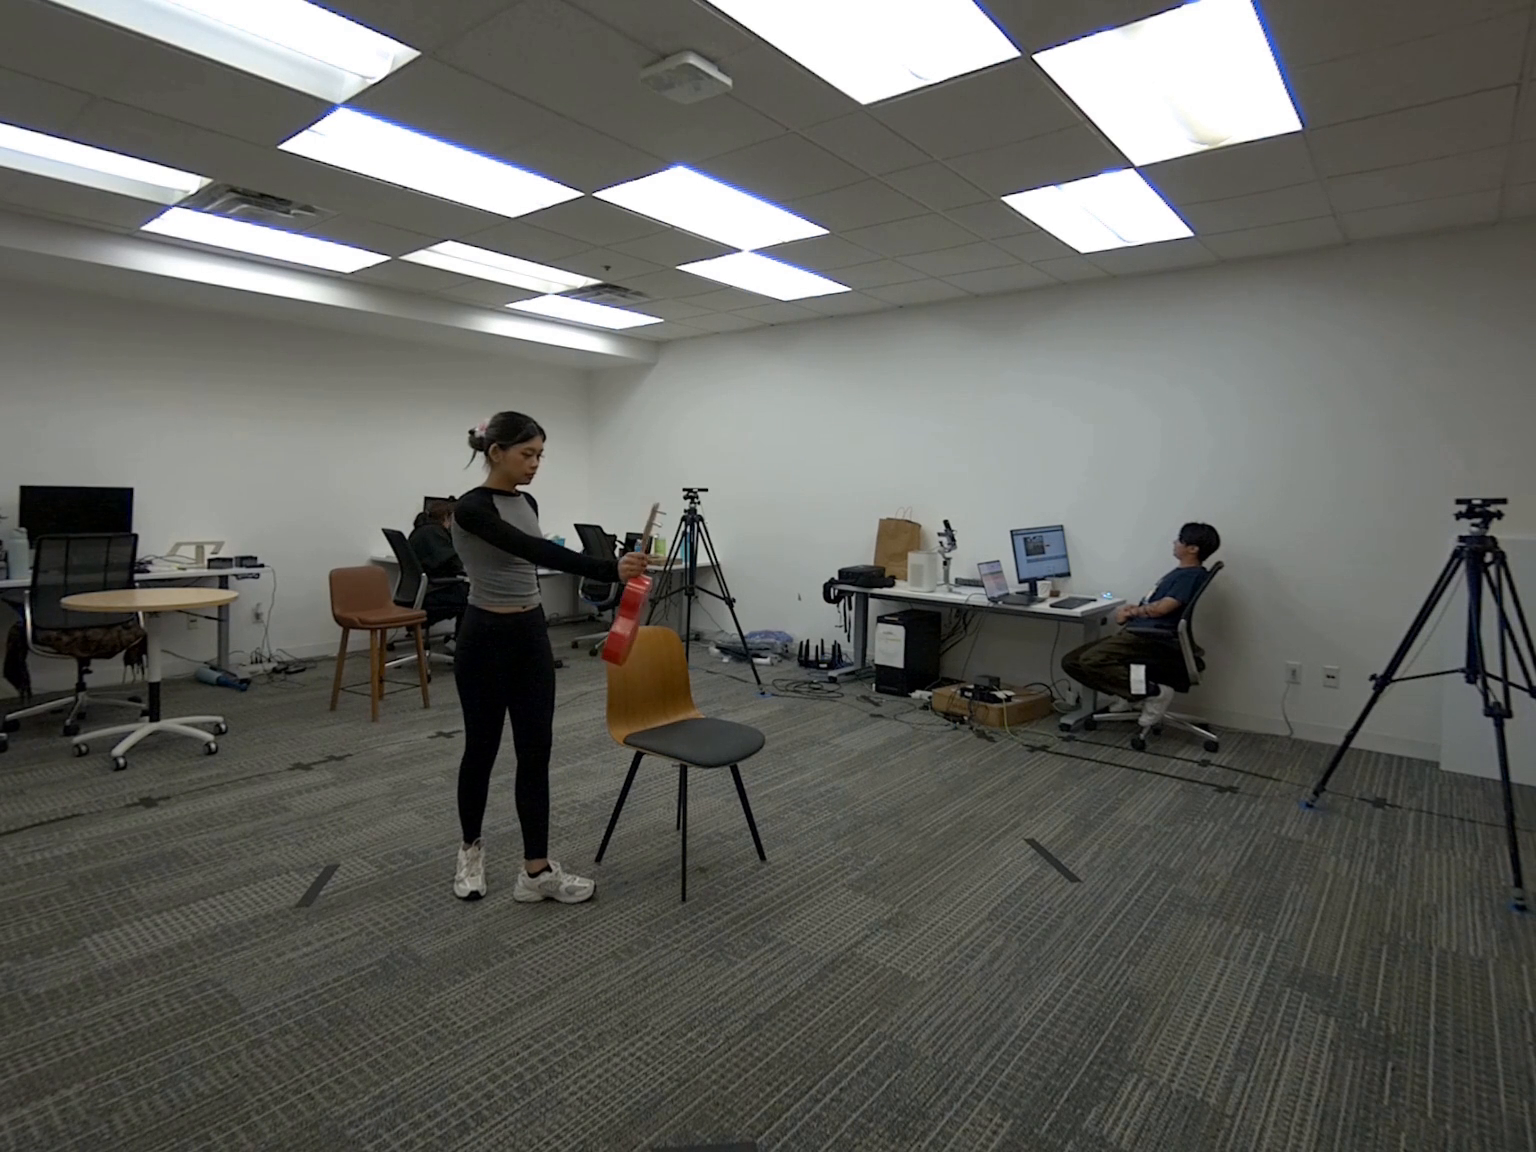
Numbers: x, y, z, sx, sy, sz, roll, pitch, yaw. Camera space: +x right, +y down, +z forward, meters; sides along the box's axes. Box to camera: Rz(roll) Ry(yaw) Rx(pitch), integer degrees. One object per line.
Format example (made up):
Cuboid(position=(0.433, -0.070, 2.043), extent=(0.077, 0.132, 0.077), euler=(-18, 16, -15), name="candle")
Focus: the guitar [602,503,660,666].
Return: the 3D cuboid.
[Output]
Cuboid(position=(-0.409, 0.027, 2.532), extent=(0.071, 0.494, 0.193), euler=(18, 12, 1), name="guitar")
